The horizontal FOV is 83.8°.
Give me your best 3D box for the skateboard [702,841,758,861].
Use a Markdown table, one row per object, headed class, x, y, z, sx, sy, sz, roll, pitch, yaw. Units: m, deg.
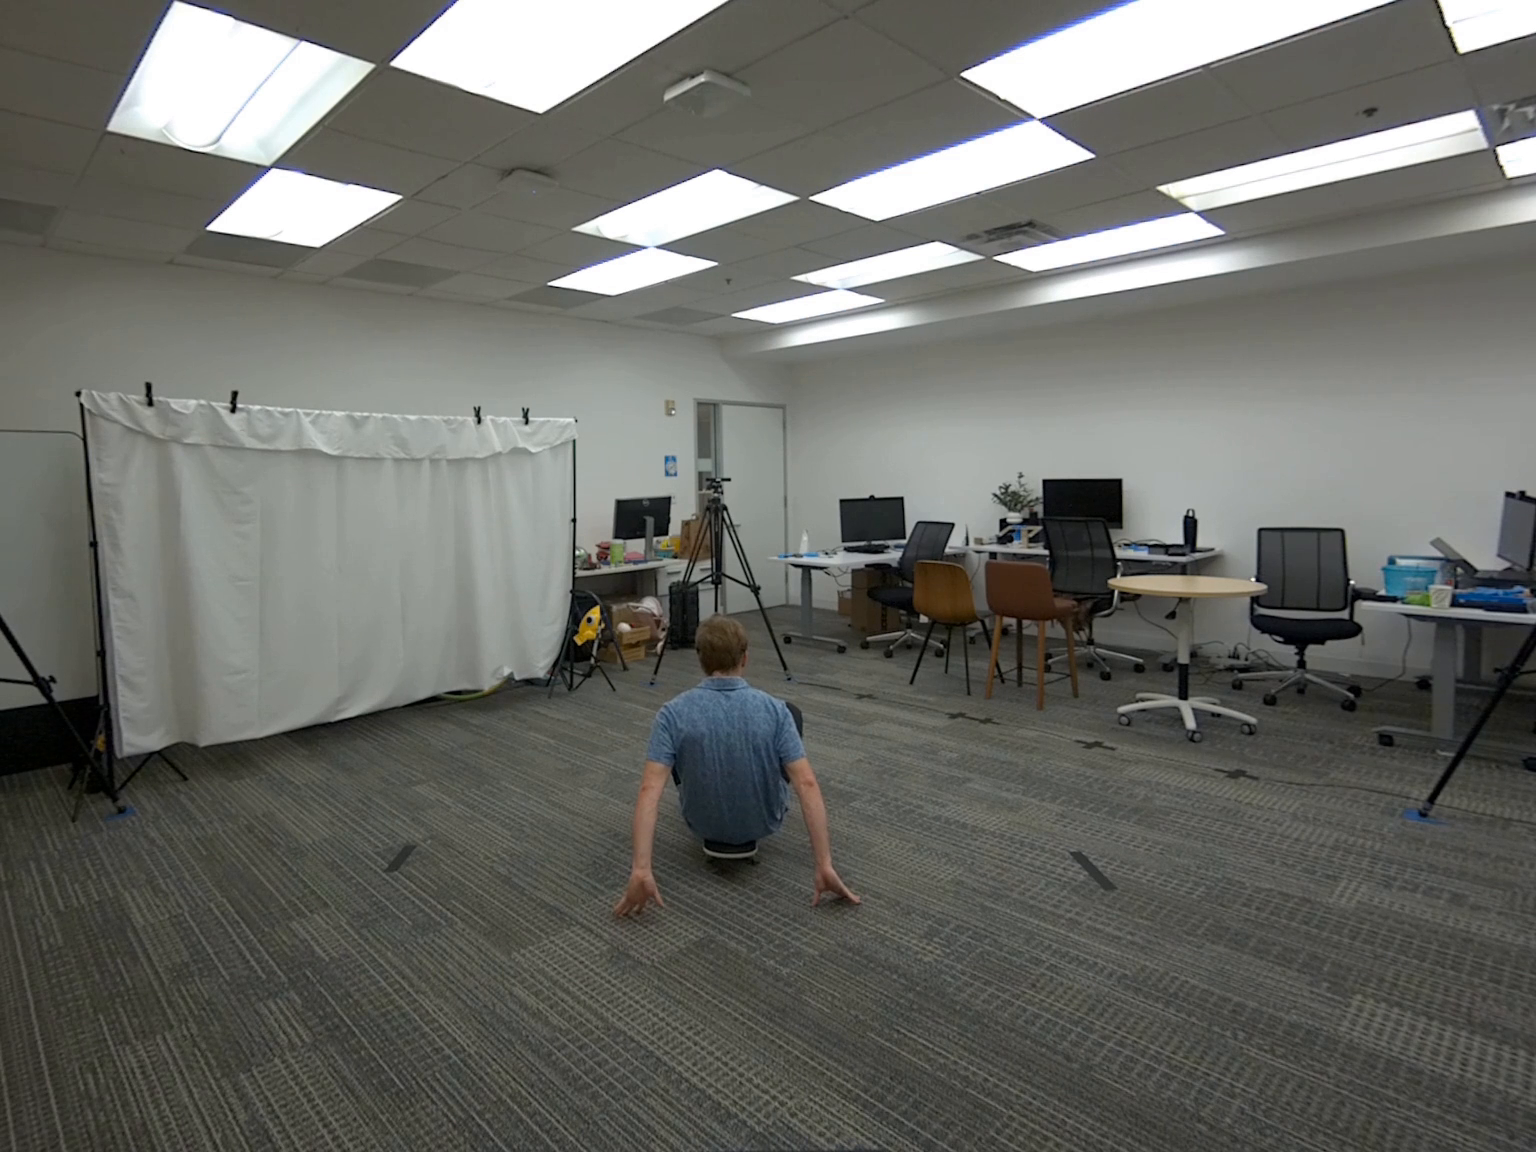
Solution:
| class | x | y | z | sx | sy | sz | roll | pitch | yaw |
| --- | --- | --- | --- | --- | --- | --- | --- | --- | --- |
| skateboard | -0.152 | 0.972 | 3.337 | 0.193 | 0.110 | 0.791 | -1 | 7 | -3 |
